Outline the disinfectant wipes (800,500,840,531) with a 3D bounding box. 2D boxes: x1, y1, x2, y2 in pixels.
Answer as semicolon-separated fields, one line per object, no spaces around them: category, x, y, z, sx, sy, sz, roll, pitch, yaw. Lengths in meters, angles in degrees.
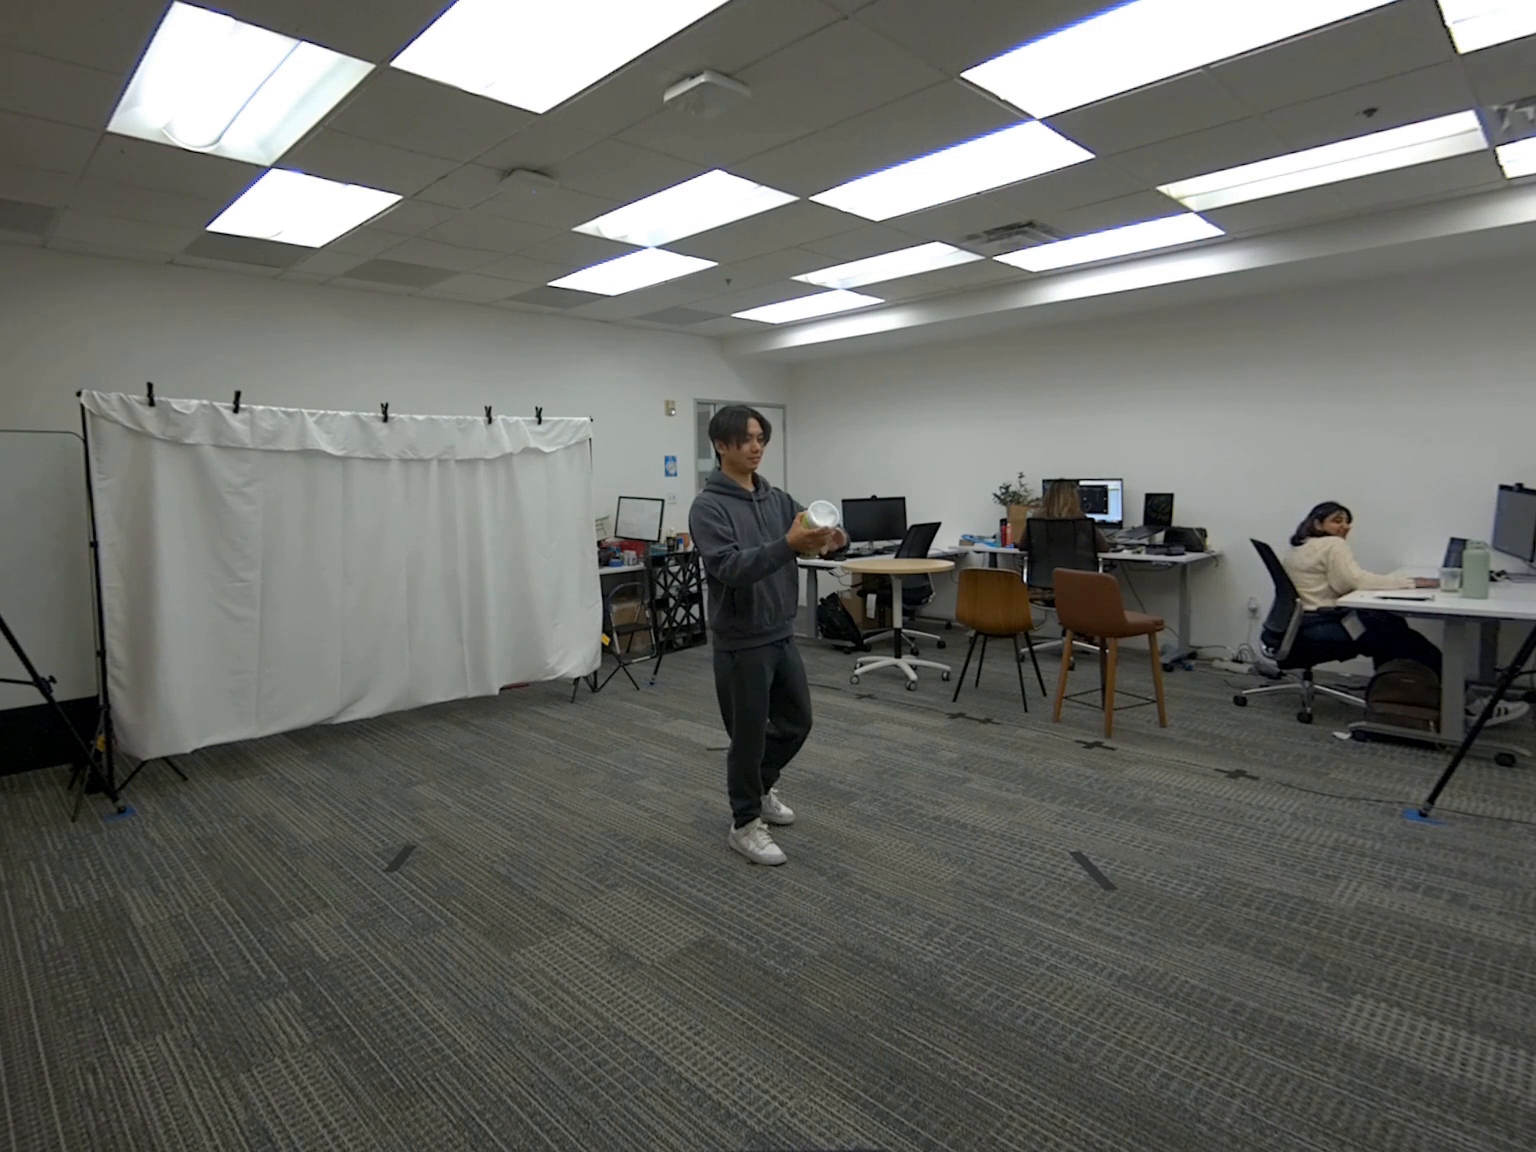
disinfectant wipes;0.155;-0.147;2.832;0.116;0.121;0.215;-2;-26;-14
